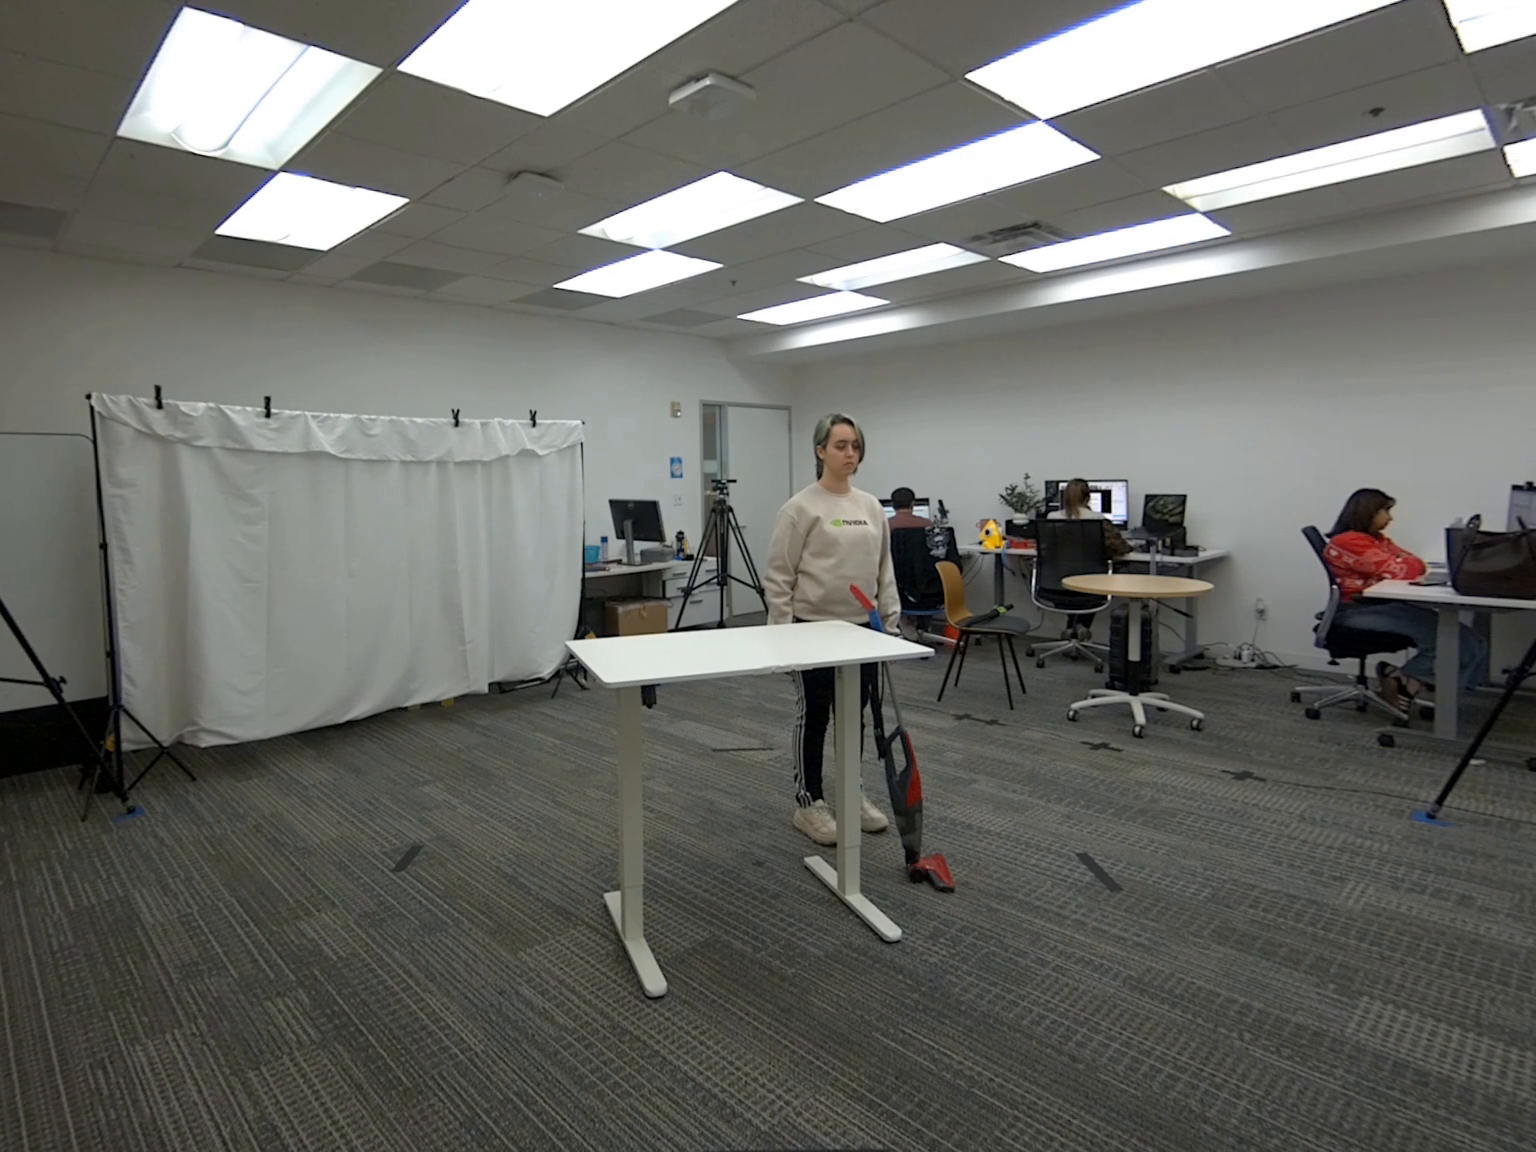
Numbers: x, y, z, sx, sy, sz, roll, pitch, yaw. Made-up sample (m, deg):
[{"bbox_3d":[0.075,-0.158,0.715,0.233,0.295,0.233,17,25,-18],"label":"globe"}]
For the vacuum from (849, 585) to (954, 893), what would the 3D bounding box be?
[{"bbox_3d":[0.434,0.553,2.984,0.144,1.048,0.252,-15,1,5],"label":"vacuum"}]
